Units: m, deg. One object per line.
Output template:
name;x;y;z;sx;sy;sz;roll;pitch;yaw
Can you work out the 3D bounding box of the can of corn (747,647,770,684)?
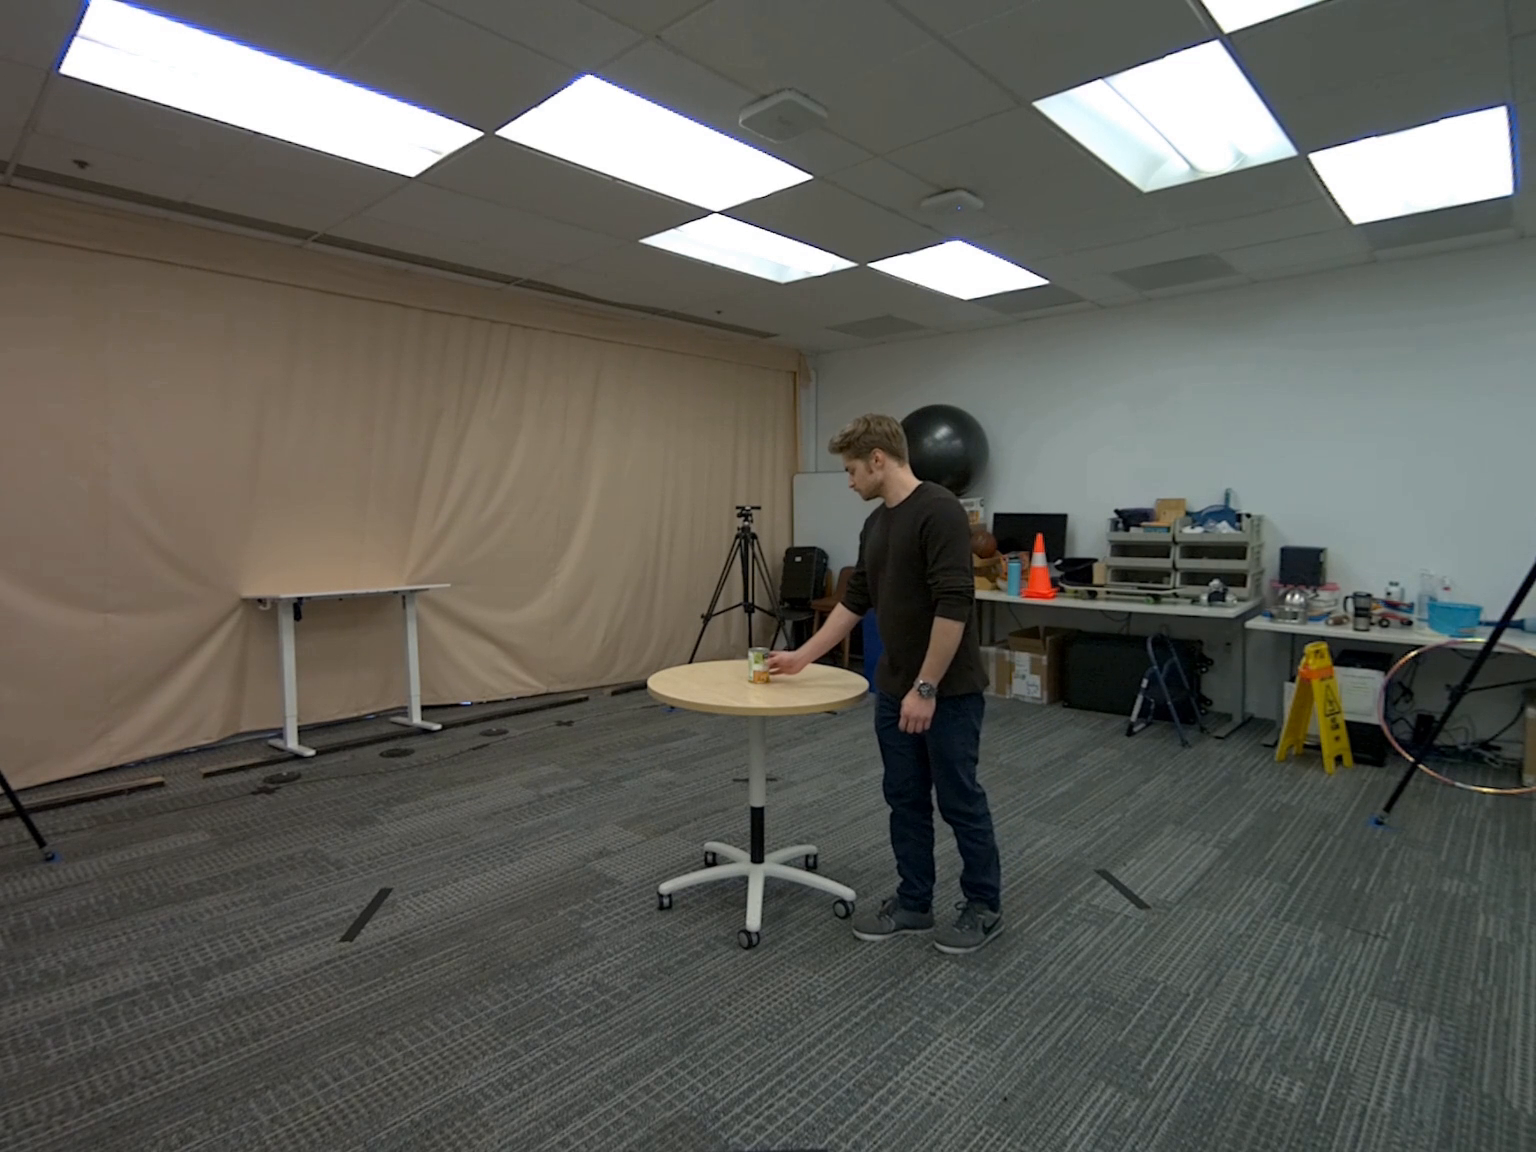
can of corn;-0.029;0.310;2.916;0.074;0.111;0.074;0;1;-2
